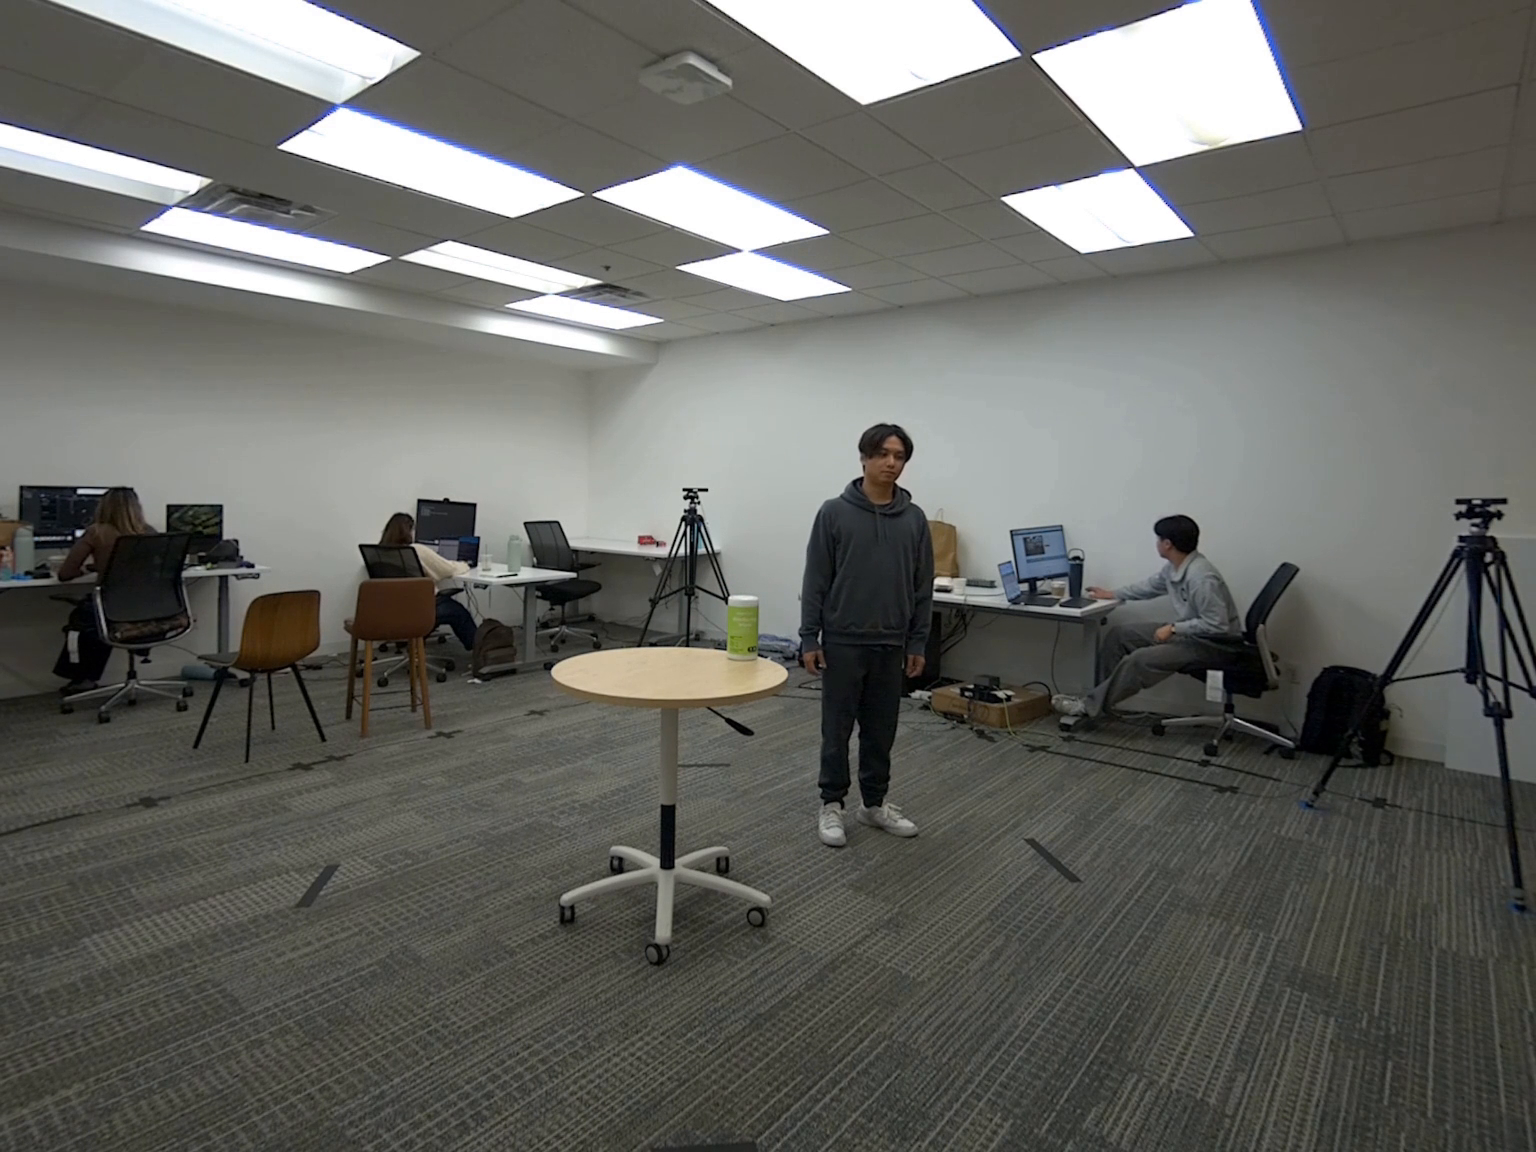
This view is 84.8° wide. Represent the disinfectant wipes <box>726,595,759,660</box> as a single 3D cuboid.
[{"bbox_3d":[-0.098,0.181,2.979,0.118,0.217,0.118,2,1,-2],"label":"disinfectant wipes"}]
